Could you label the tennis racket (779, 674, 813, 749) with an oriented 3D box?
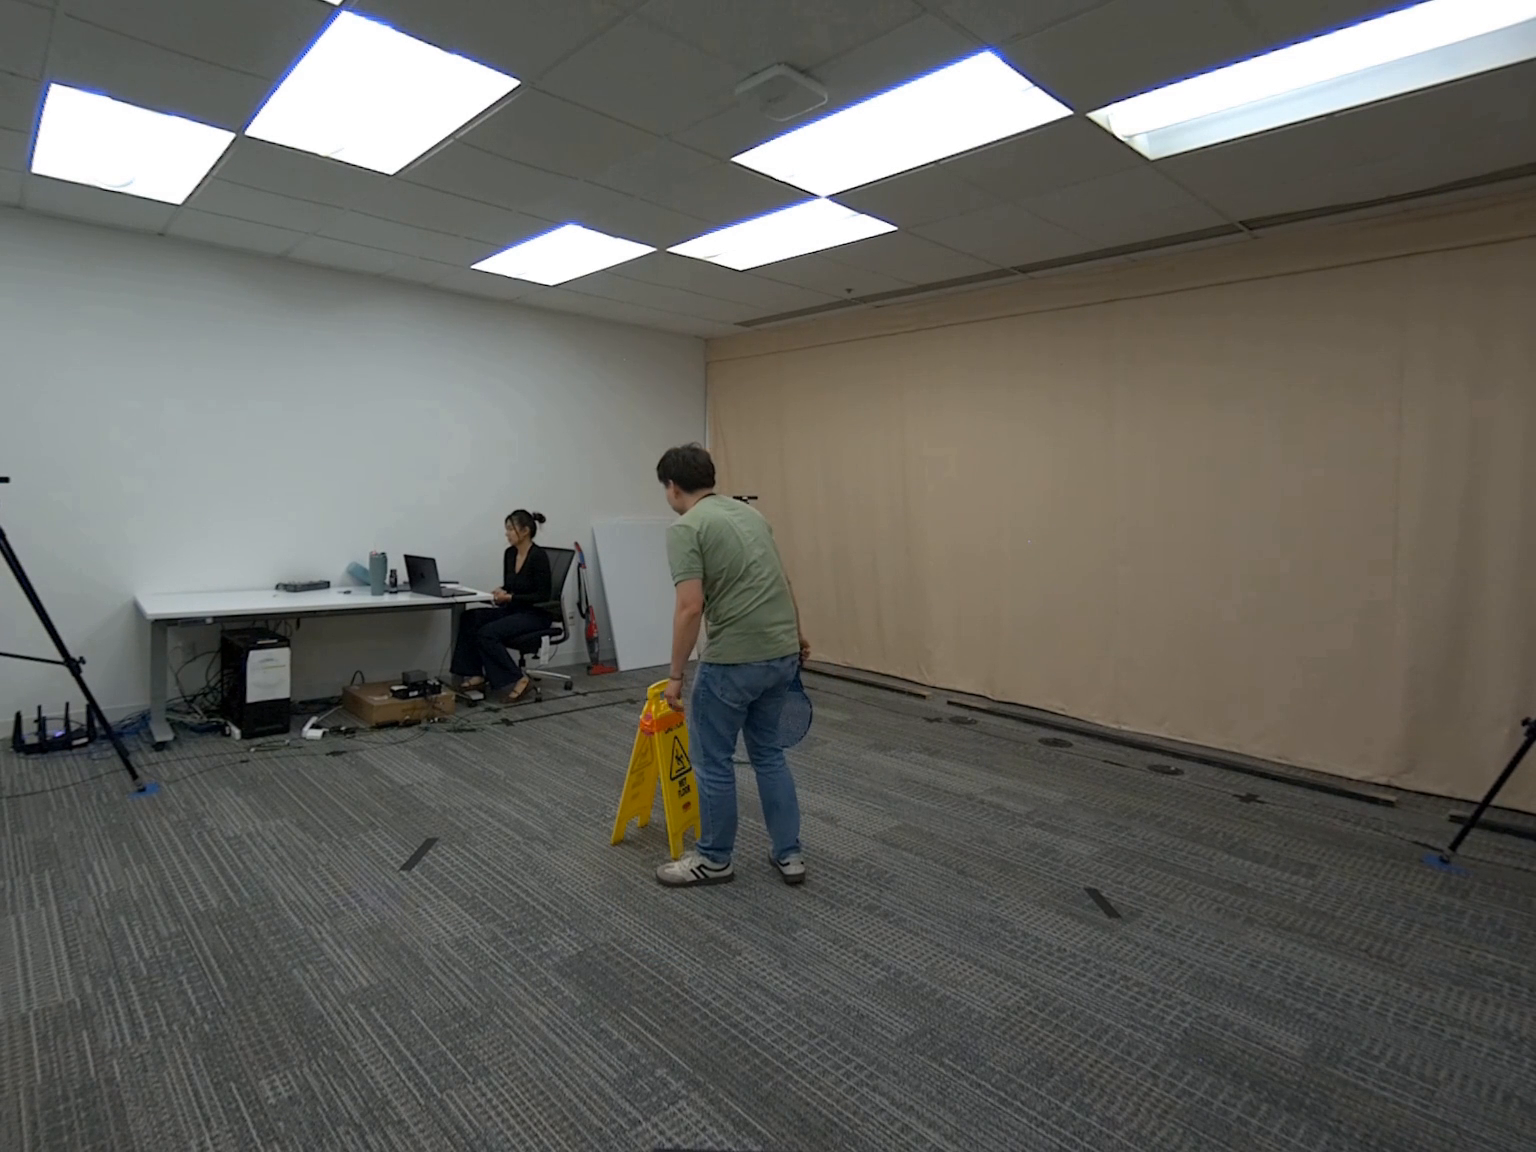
[{"bbox_3d":[0.080,0.500,3.408,0.211,0.429,0.032,4,13,-14],"label":"tennis racket"}]
